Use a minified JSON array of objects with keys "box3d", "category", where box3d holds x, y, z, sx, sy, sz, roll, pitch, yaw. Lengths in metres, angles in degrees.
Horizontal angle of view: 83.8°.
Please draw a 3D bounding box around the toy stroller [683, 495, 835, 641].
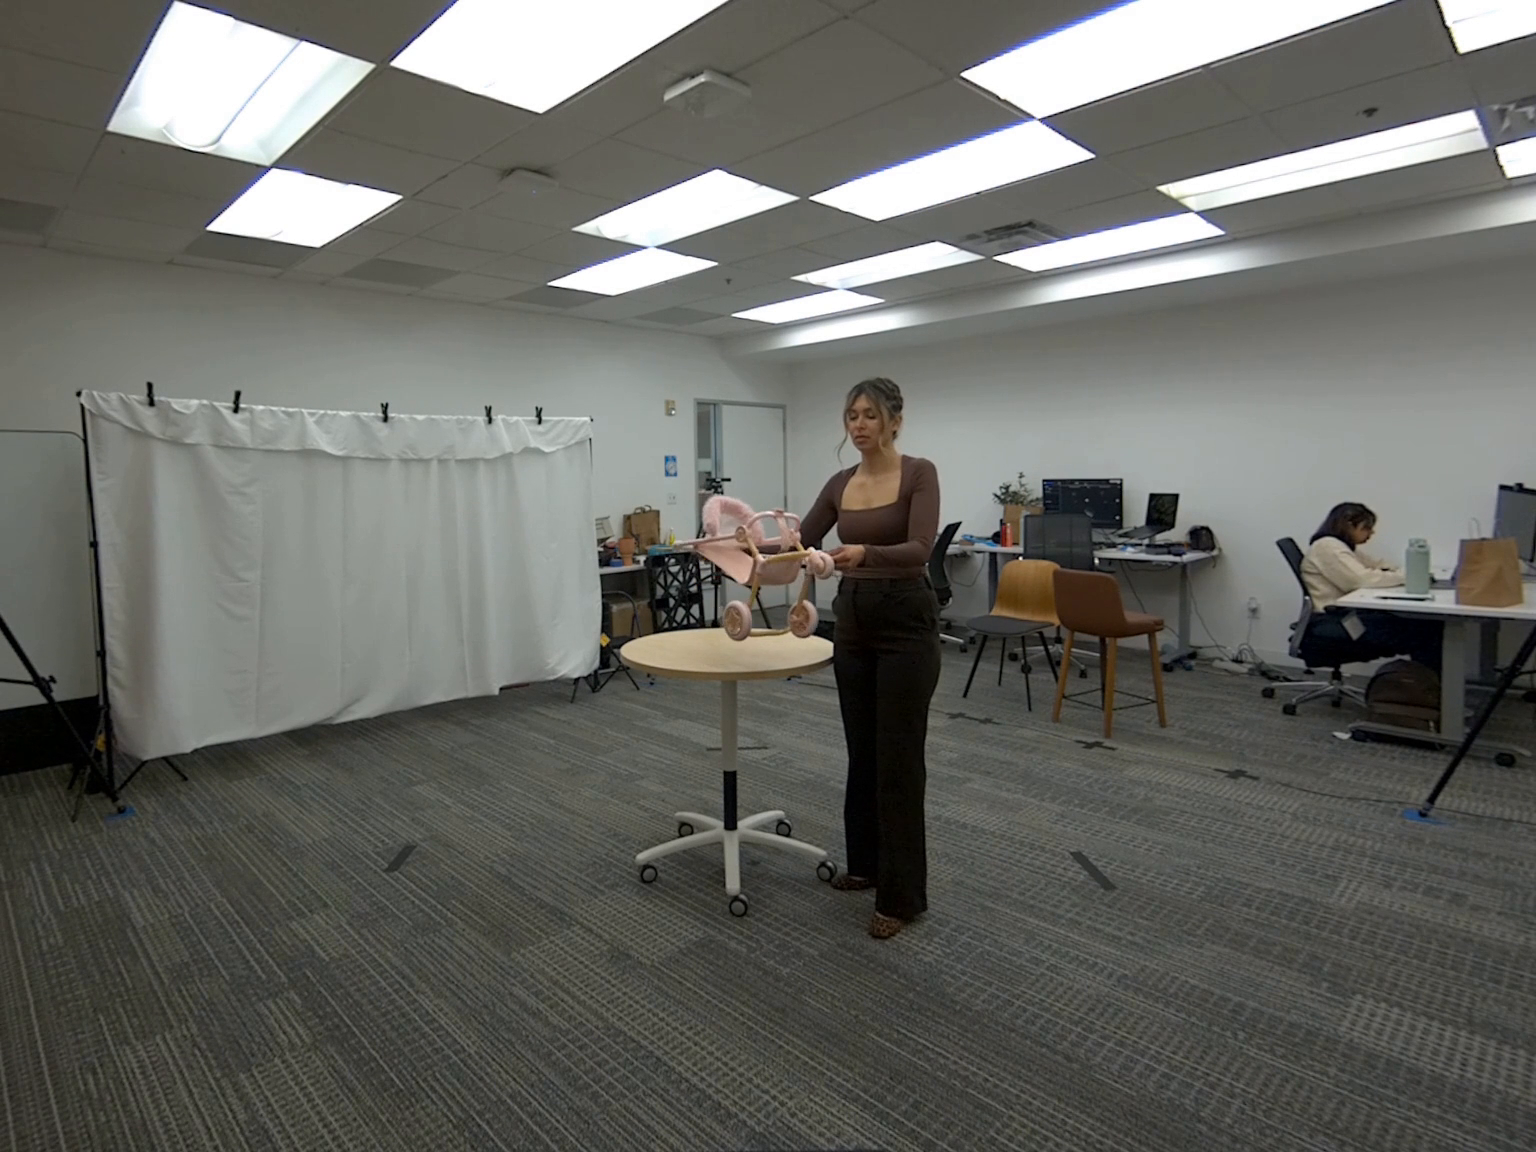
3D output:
[{"box3d":[-0.030,-0.054,2.438,0.274,0.337,0.556,-2,37,-38],"category":"toy stroller"}]
